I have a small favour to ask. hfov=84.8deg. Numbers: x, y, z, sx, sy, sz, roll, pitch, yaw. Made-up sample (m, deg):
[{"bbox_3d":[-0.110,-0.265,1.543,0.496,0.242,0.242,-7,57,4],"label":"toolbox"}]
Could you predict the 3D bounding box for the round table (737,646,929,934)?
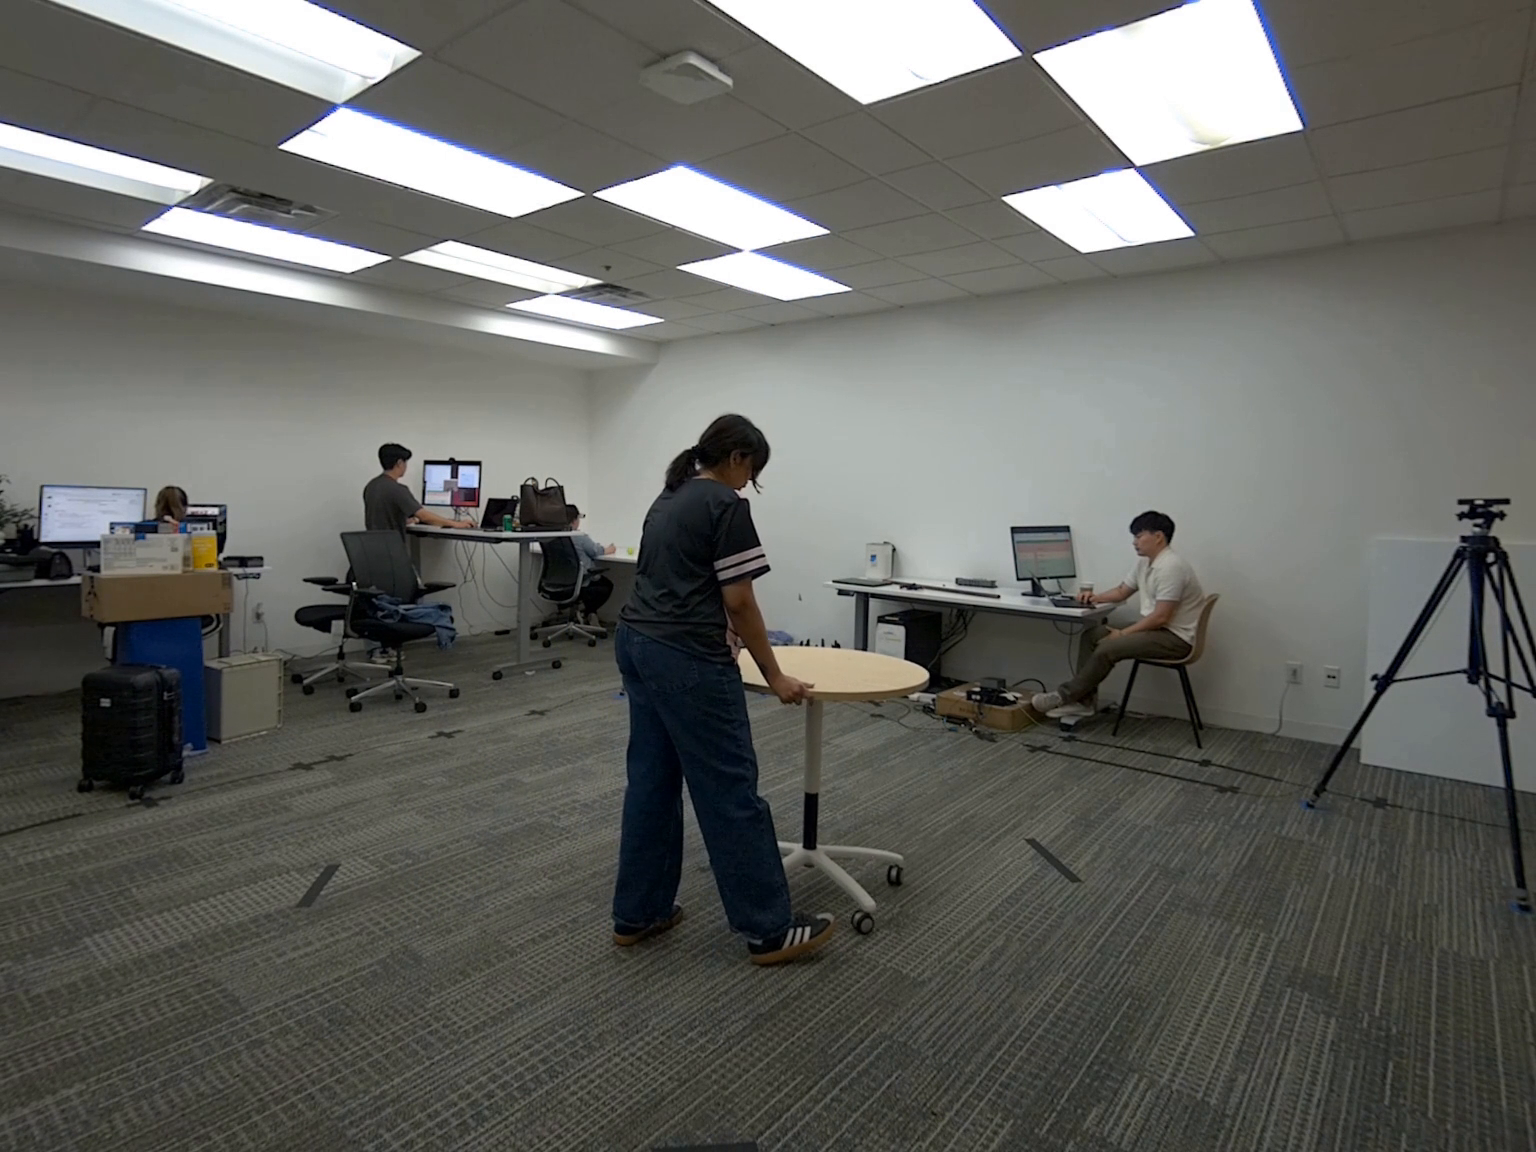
[{"bbox_3d":[0.135,0.696,2.967,0.784,0.784,0.788,1,4,-2],"label":"round table"}]
